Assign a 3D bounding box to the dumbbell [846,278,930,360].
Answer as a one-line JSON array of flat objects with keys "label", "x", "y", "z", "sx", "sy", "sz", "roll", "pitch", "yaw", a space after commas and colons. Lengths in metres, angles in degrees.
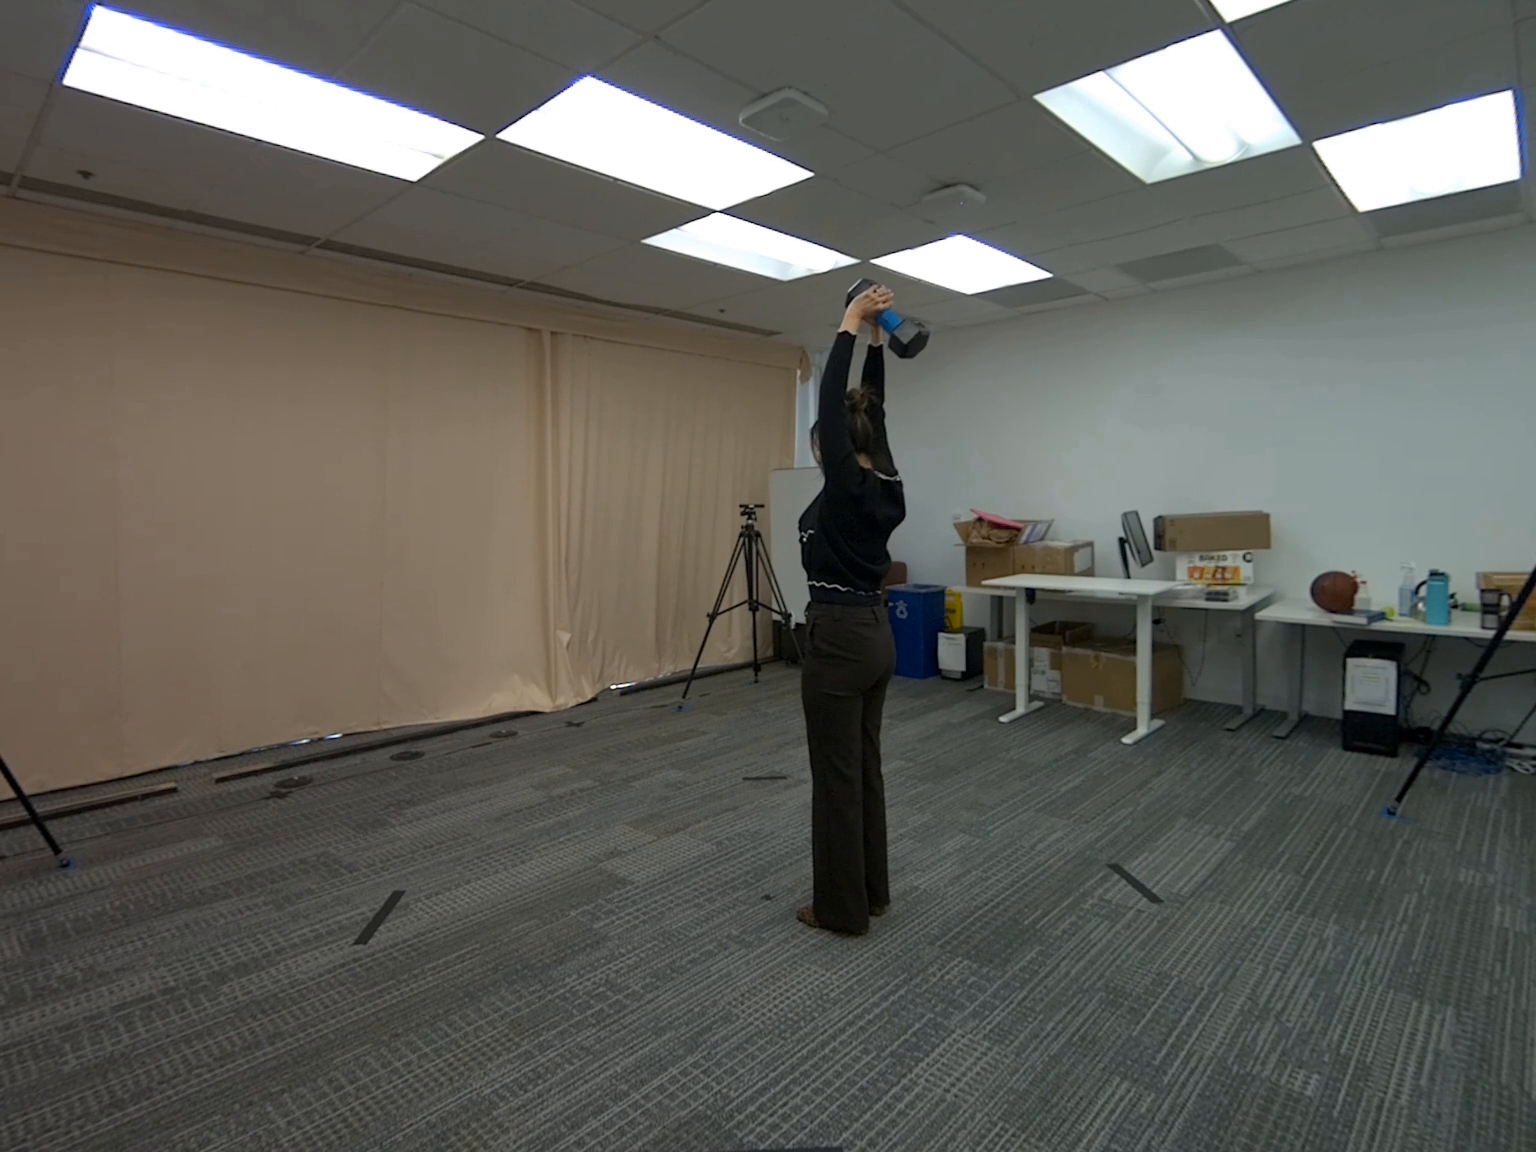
[{"label": "dumbbell", "x": 0.382, "y": -0.813, "z": 2.662, "sx": 0.123, "sy": 0.301, "sz": 0.105, "roll": -42, "pitch": -24, "yaw": 7}]
